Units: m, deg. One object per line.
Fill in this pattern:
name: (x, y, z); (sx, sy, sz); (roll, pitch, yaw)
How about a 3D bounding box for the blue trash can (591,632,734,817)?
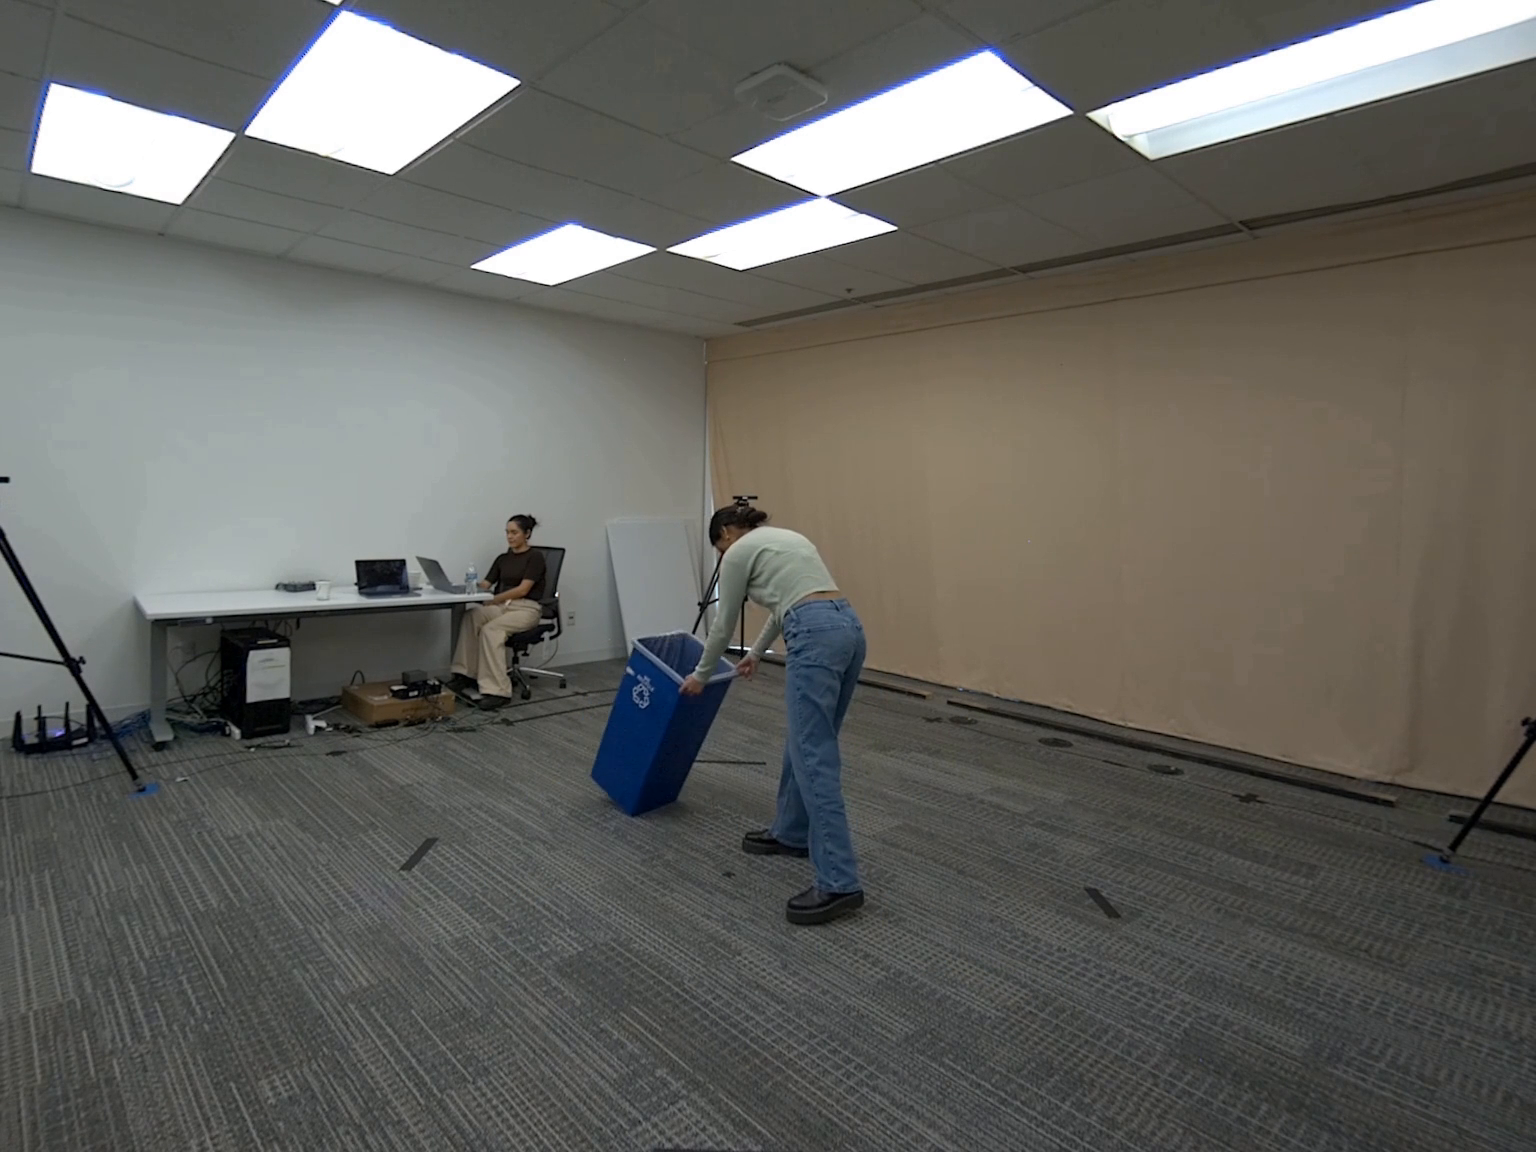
blue trash can: (-0.469, 0.657, 3.716); (0.385, 0.708, 0.370); (32, 20, 31)
